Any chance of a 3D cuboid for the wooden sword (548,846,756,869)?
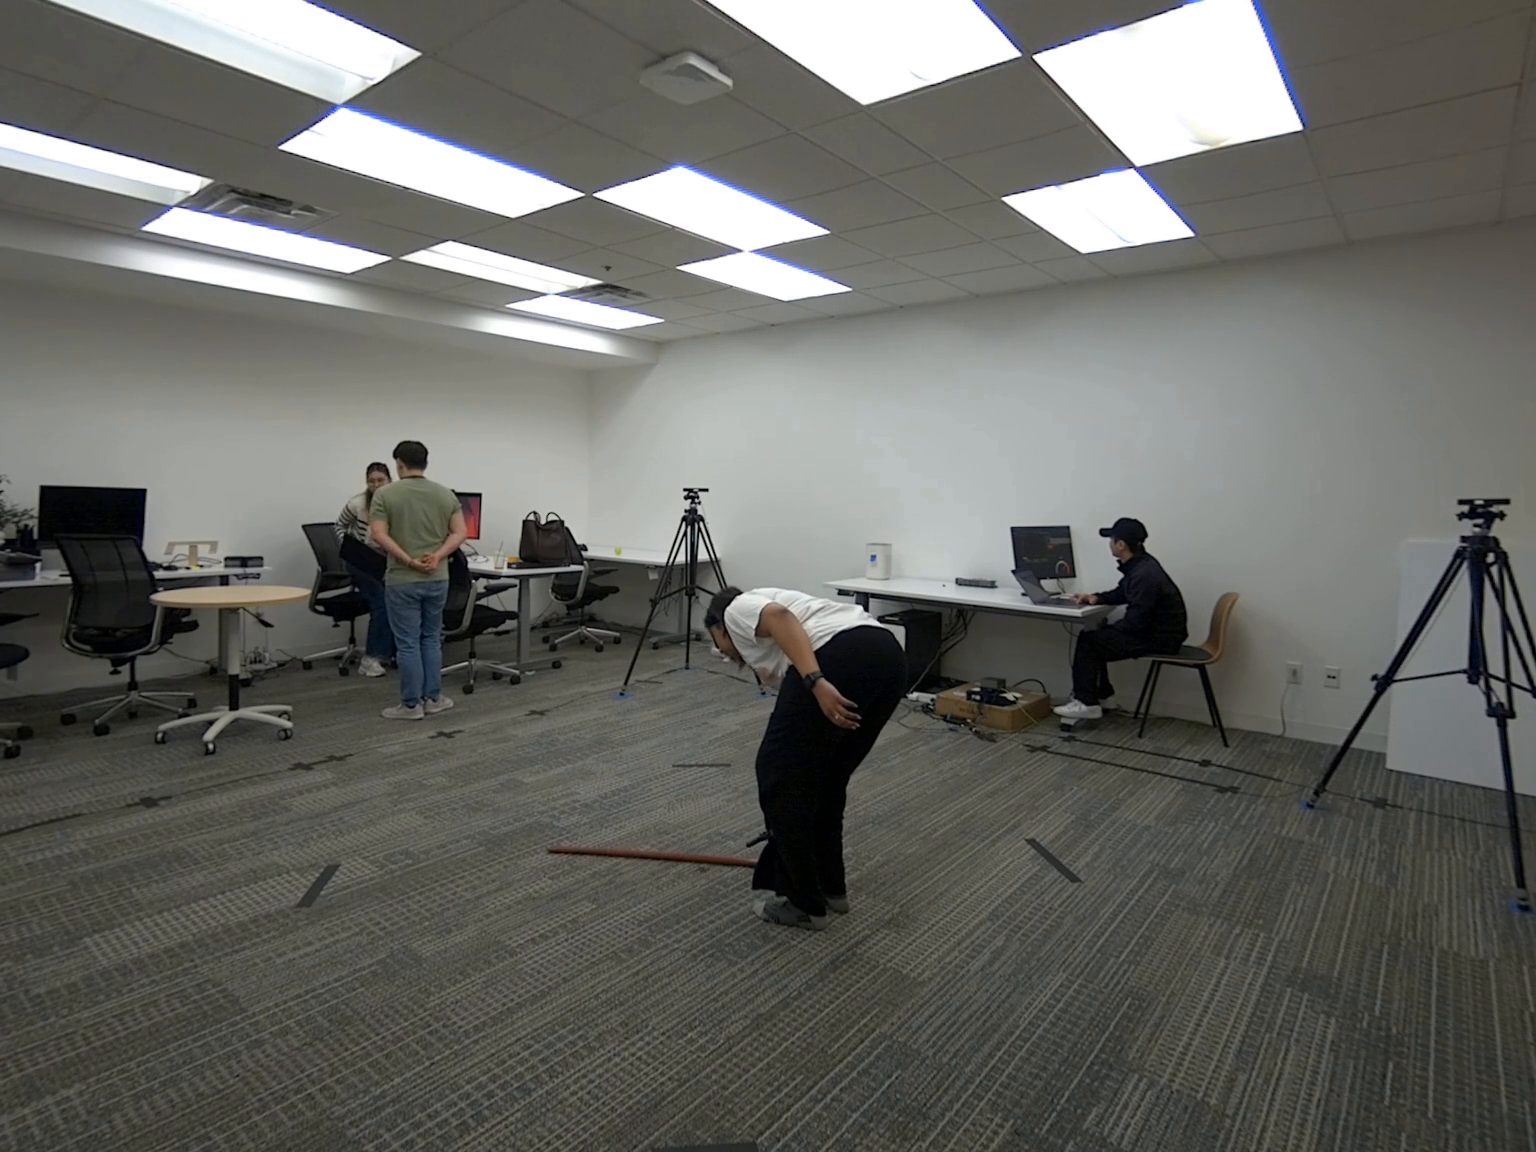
[{"bbox_3d":[-0.323,1.030,3.172,1.032,0.023,0.052,0,29,6],"label":"wooden sword"}]
